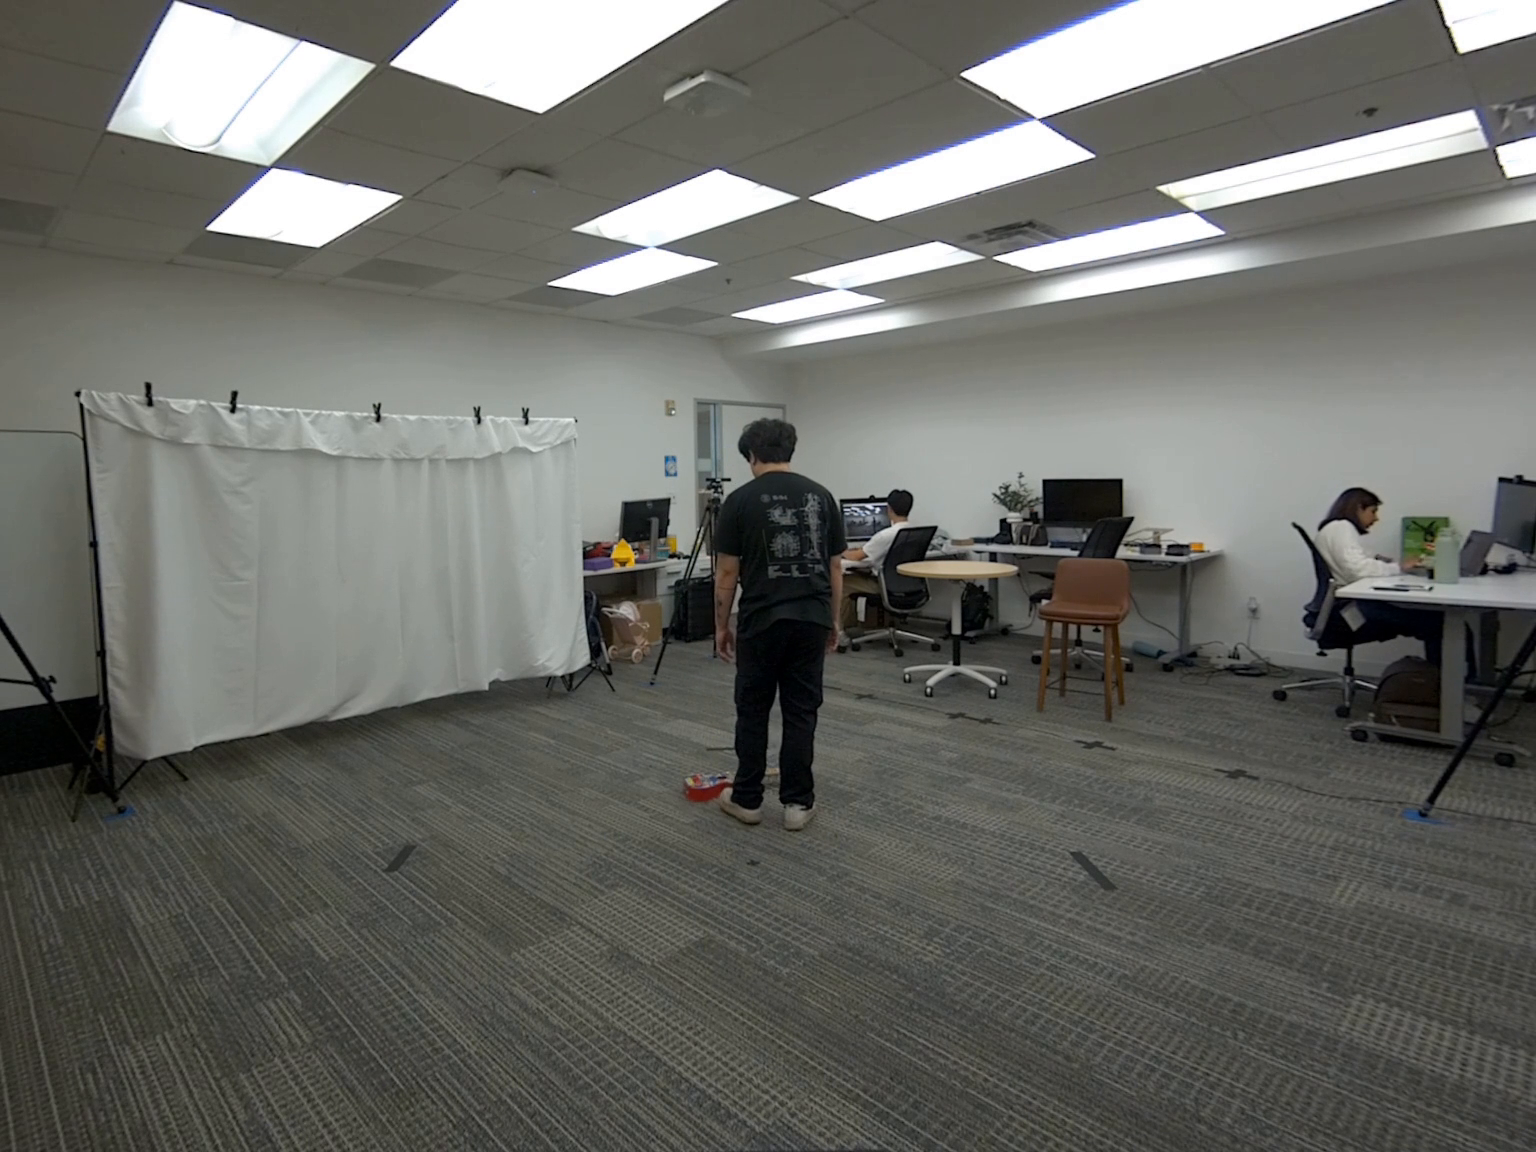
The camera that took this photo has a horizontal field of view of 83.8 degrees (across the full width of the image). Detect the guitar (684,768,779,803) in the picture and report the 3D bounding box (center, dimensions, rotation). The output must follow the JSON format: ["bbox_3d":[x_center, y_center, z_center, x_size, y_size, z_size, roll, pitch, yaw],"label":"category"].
[{"bbox_3d":[-0.128,0.927,3.824,0.494,0.070,0.195,-3,5,-7],"label":"guitar"}]
